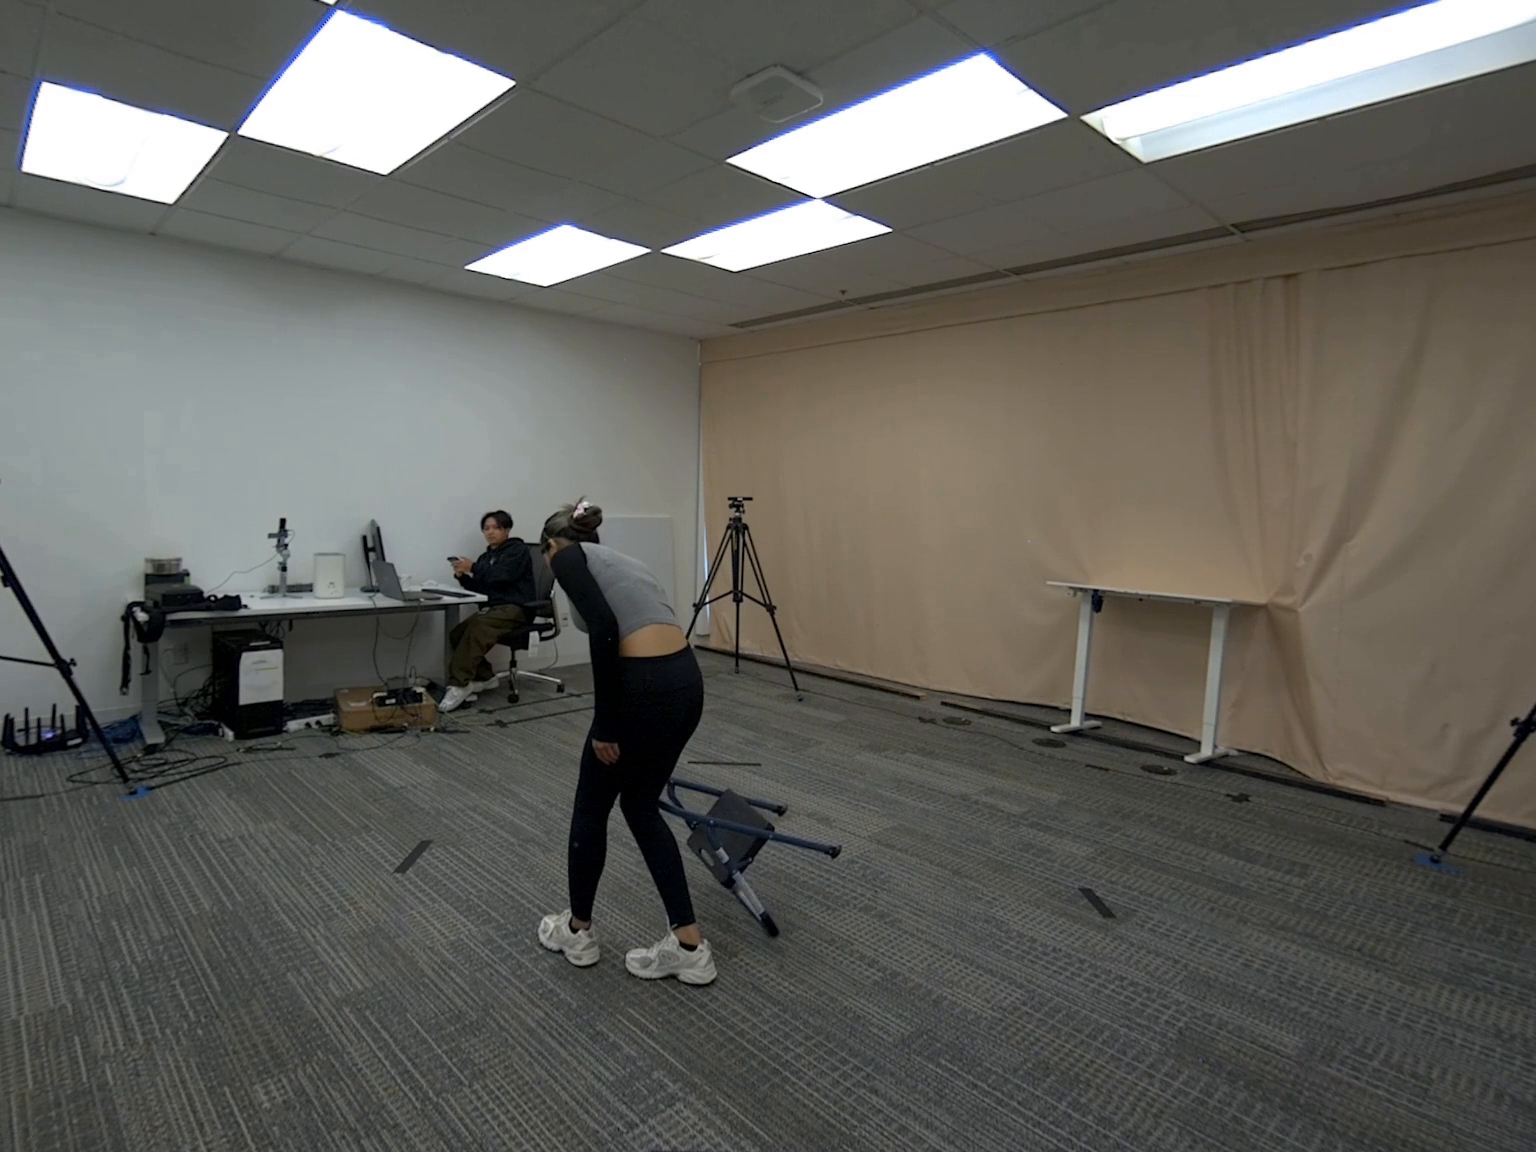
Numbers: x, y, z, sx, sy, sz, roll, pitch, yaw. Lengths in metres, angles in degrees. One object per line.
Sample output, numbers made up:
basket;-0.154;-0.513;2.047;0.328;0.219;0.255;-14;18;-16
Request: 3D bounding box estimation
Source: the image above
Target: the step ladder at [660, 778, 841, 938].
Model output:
step ladder;-0.160;0.815;2.802;0.594;0.349;0.439;43;-13;-20
